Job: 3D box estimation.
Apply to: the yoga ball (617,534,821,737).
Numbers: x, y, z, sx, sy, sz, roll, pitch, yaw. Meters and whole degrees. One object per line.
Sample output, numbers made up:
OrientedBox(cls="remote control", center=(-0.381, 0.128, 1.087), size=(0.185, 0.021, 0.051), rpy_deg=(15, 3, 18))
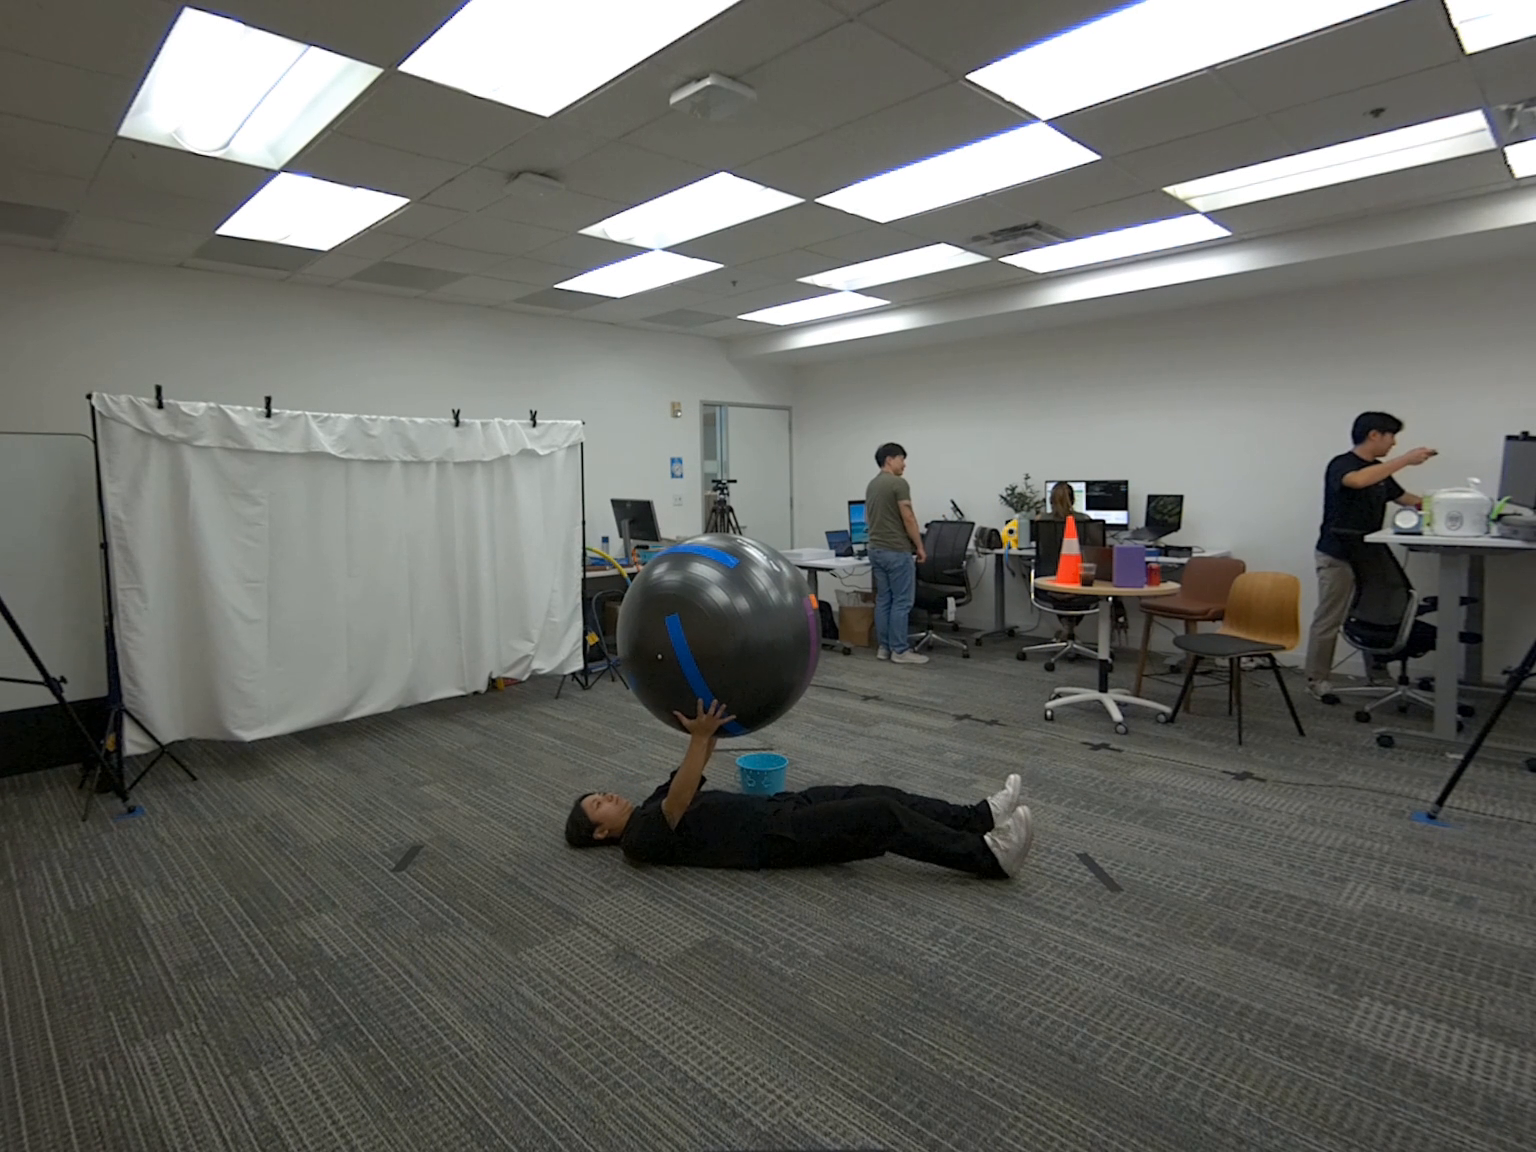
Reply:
OrientedBox(cls="yoga ball", center=(-0.187, 0.227, 3.184), size=(0.757, 0.755, 0.762), rpy_deg=(-1, 5, -2))
